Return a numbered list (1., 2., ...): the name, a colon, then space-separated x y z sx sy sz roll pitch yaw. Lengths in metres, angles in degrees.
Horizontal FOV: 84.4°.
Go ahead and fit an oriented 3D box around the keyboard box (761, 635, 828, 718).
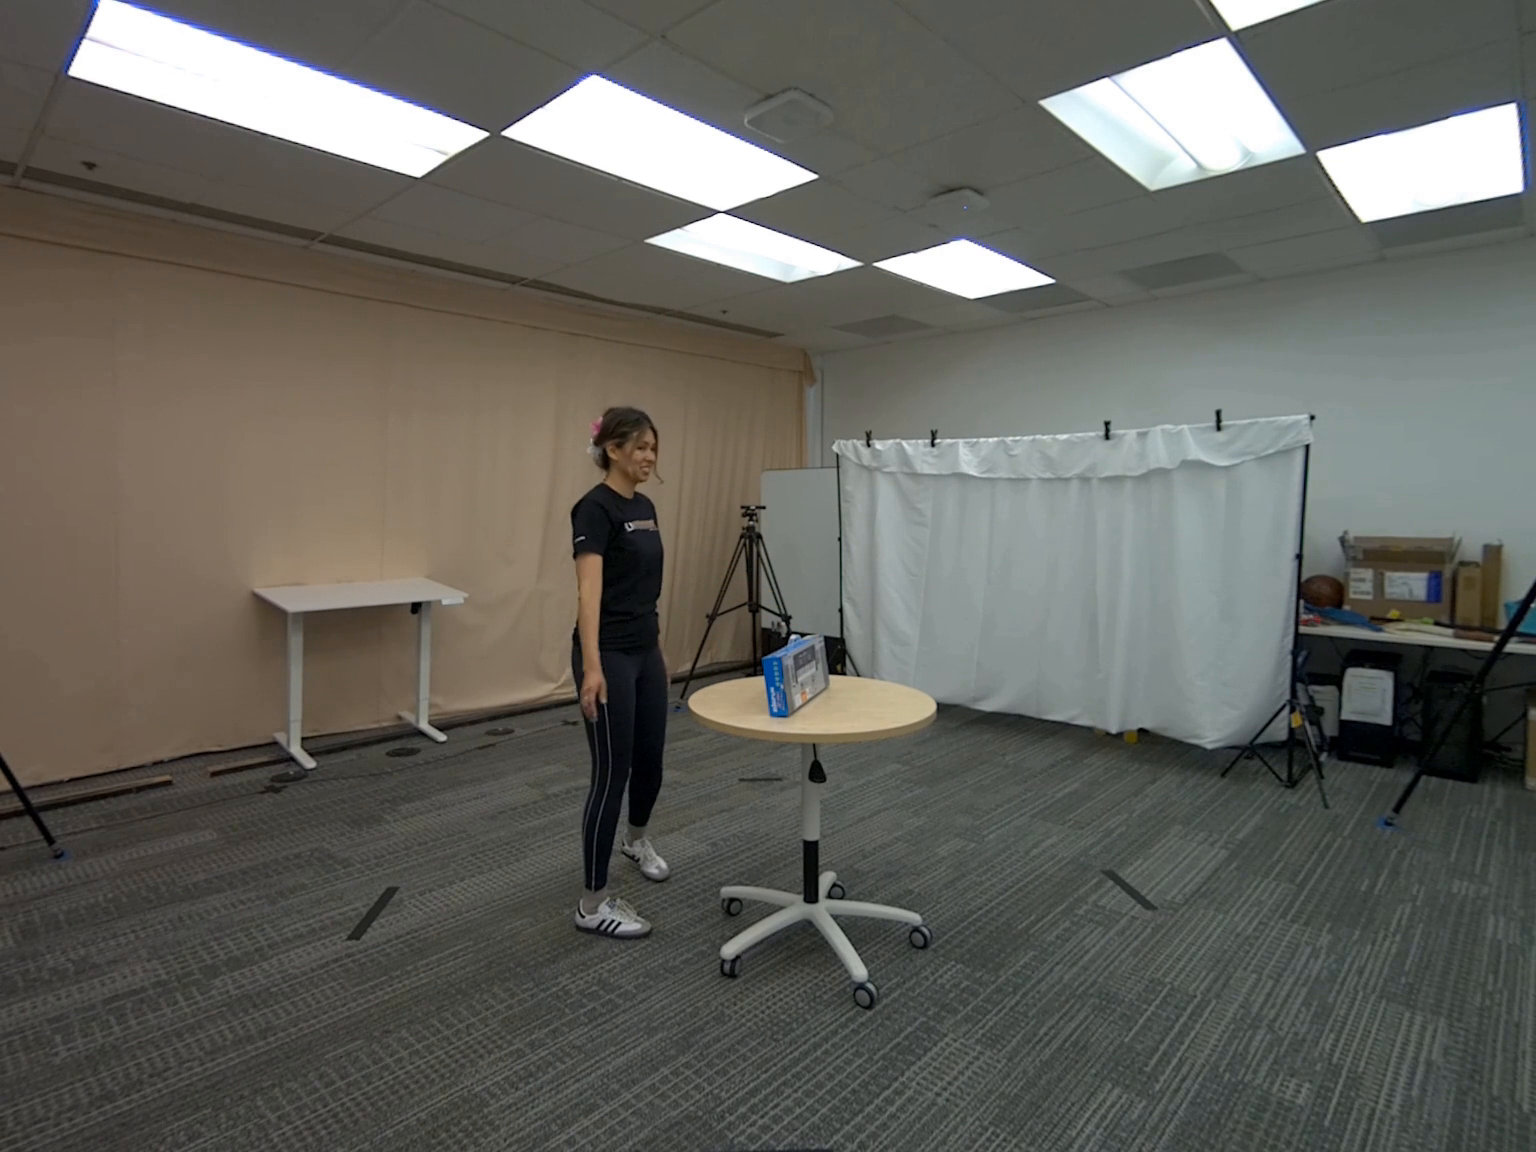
1. keyboard box: 0.093 0.302 2.625 0.060 0.176 0.429 -6 3 18
